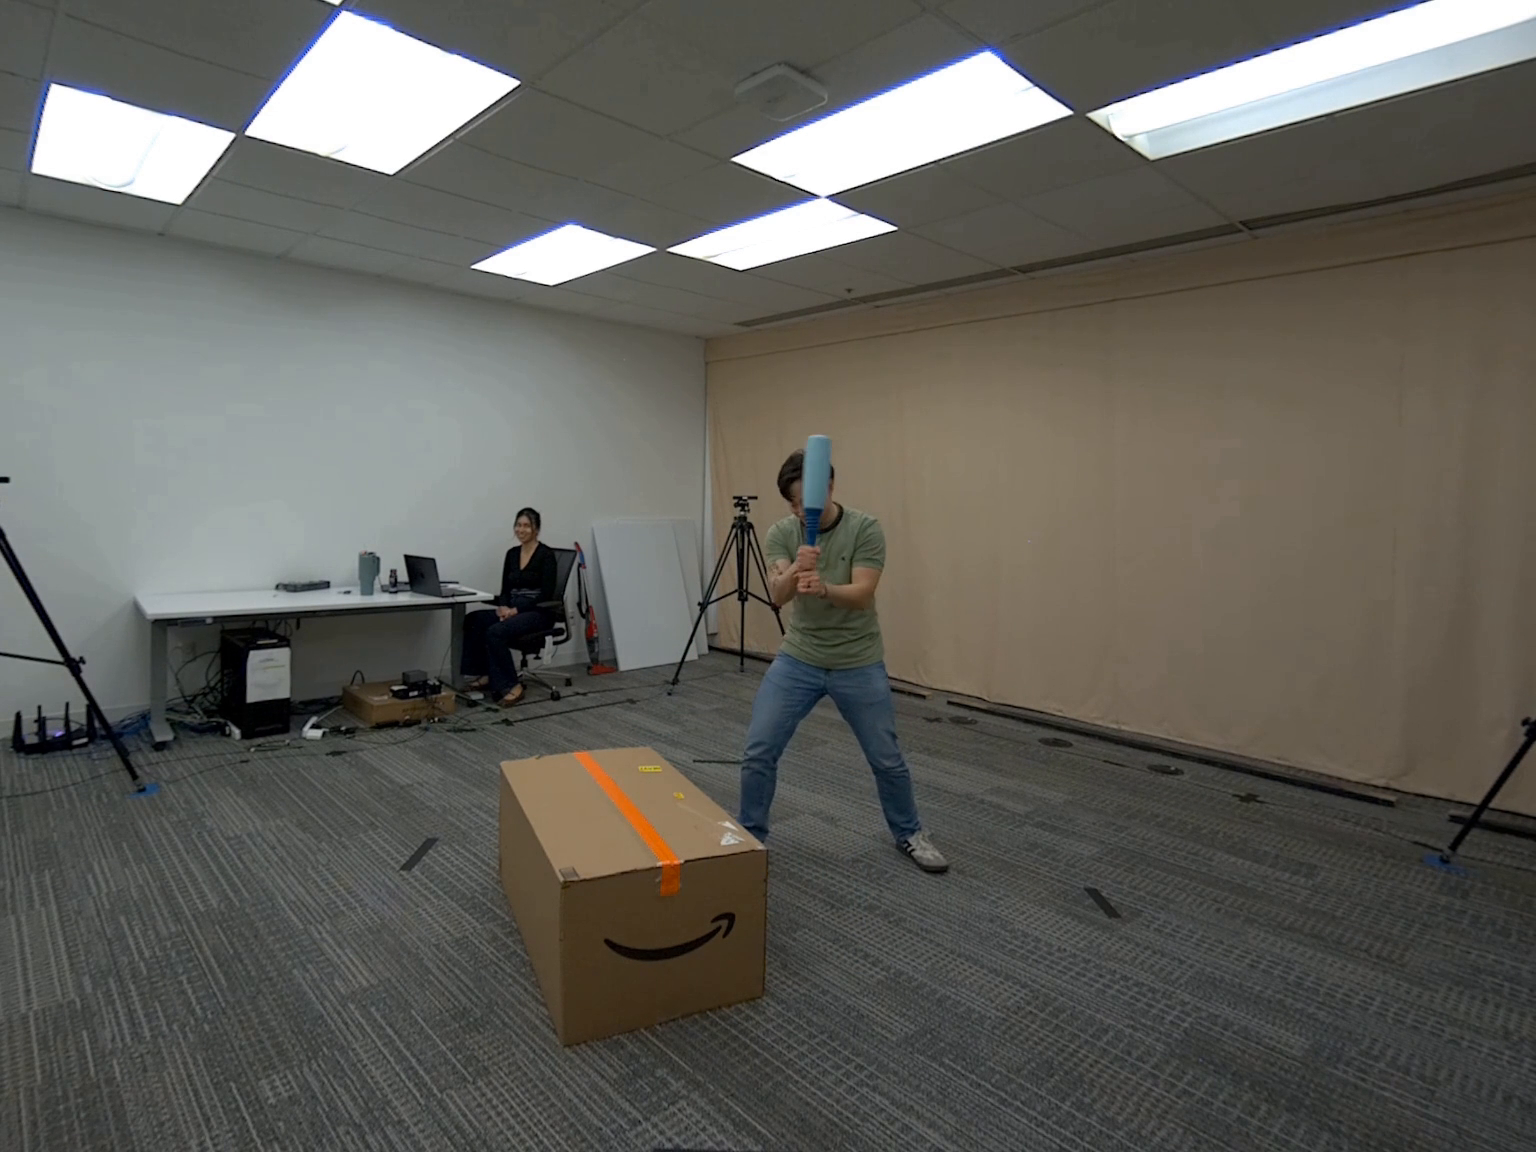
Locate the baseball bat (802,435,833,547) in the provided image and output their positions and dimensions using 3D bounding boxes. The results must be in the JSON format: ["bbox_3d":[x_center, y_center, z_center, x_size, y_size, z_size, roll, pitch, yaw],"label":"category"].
[{"bbox_3d":[0.130,-0.175,2.892,0.089,0.543,0.089,4,-1,-1],"label":"baseball bat"}]
